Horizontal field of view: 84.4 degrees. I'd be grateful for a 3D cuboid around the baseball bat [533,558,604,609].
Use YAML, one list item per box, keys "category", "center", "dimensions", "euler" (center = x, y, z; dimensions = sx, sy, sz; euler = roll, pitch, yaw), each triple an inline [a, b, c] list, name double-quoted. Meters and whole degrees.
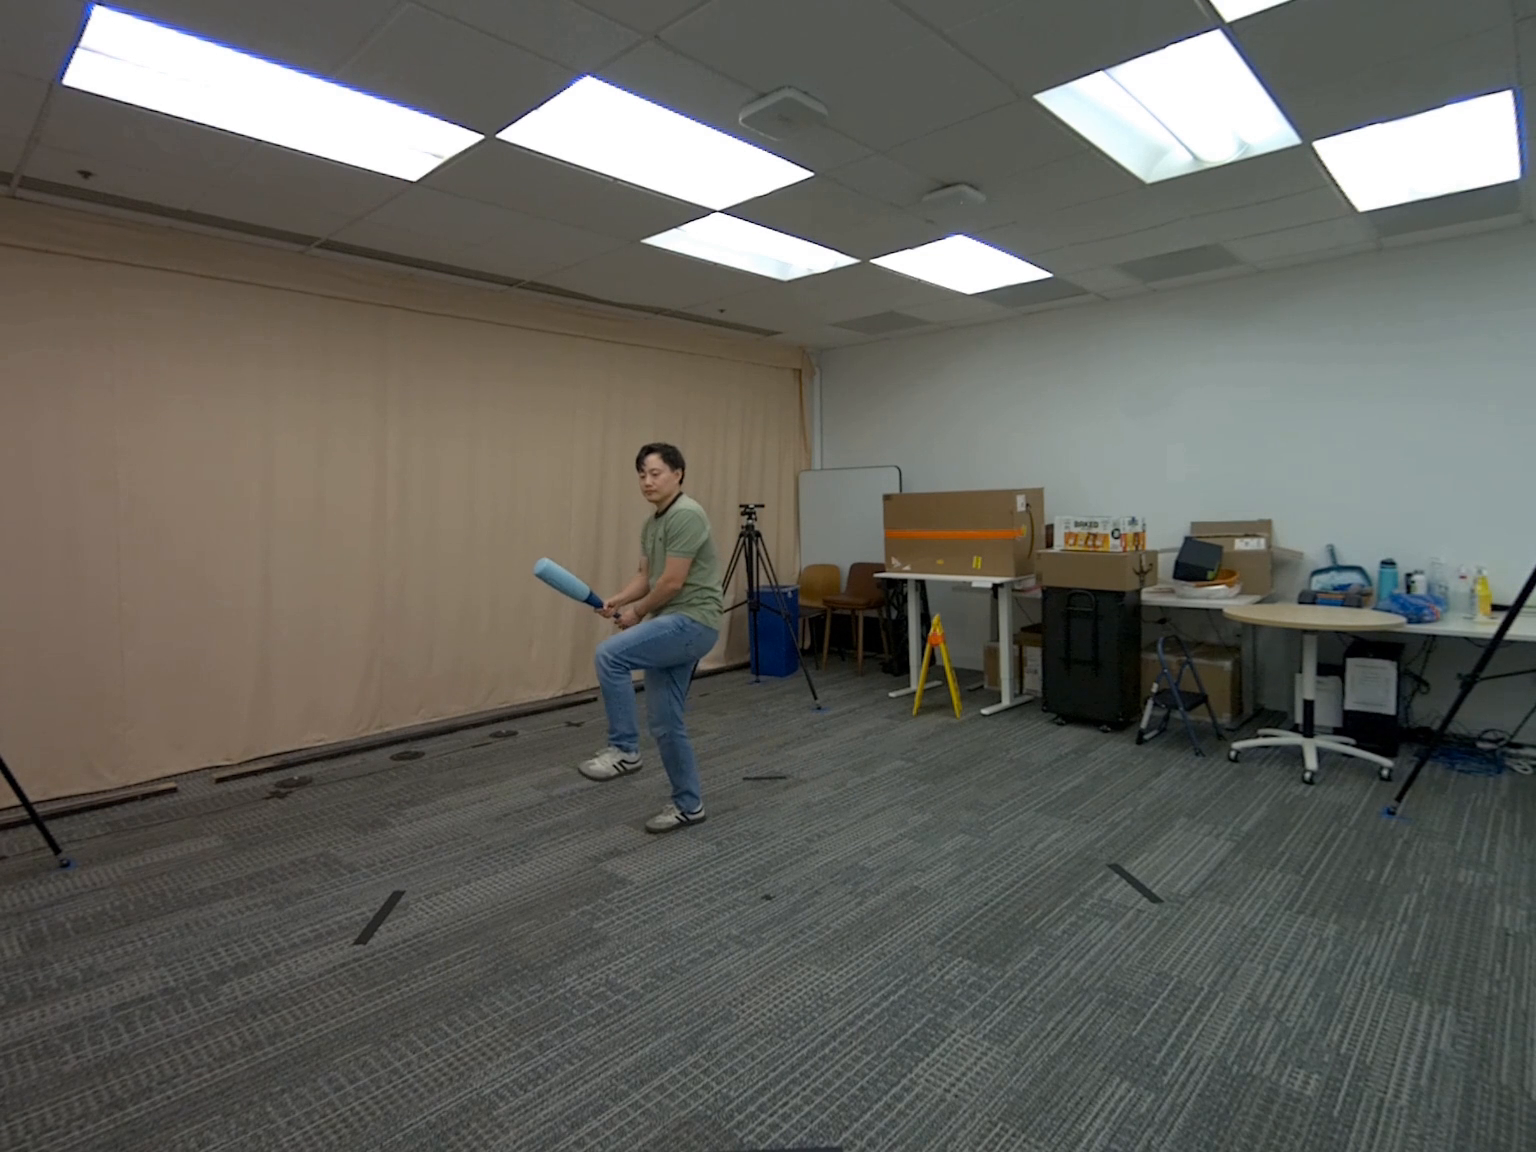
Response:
- category: "baseball bat"
  center: [-0.752, 0.096, 3.535]
  dimensions: [0.525, 0.089, 0.092]
  euler: [39, -21, -32]
